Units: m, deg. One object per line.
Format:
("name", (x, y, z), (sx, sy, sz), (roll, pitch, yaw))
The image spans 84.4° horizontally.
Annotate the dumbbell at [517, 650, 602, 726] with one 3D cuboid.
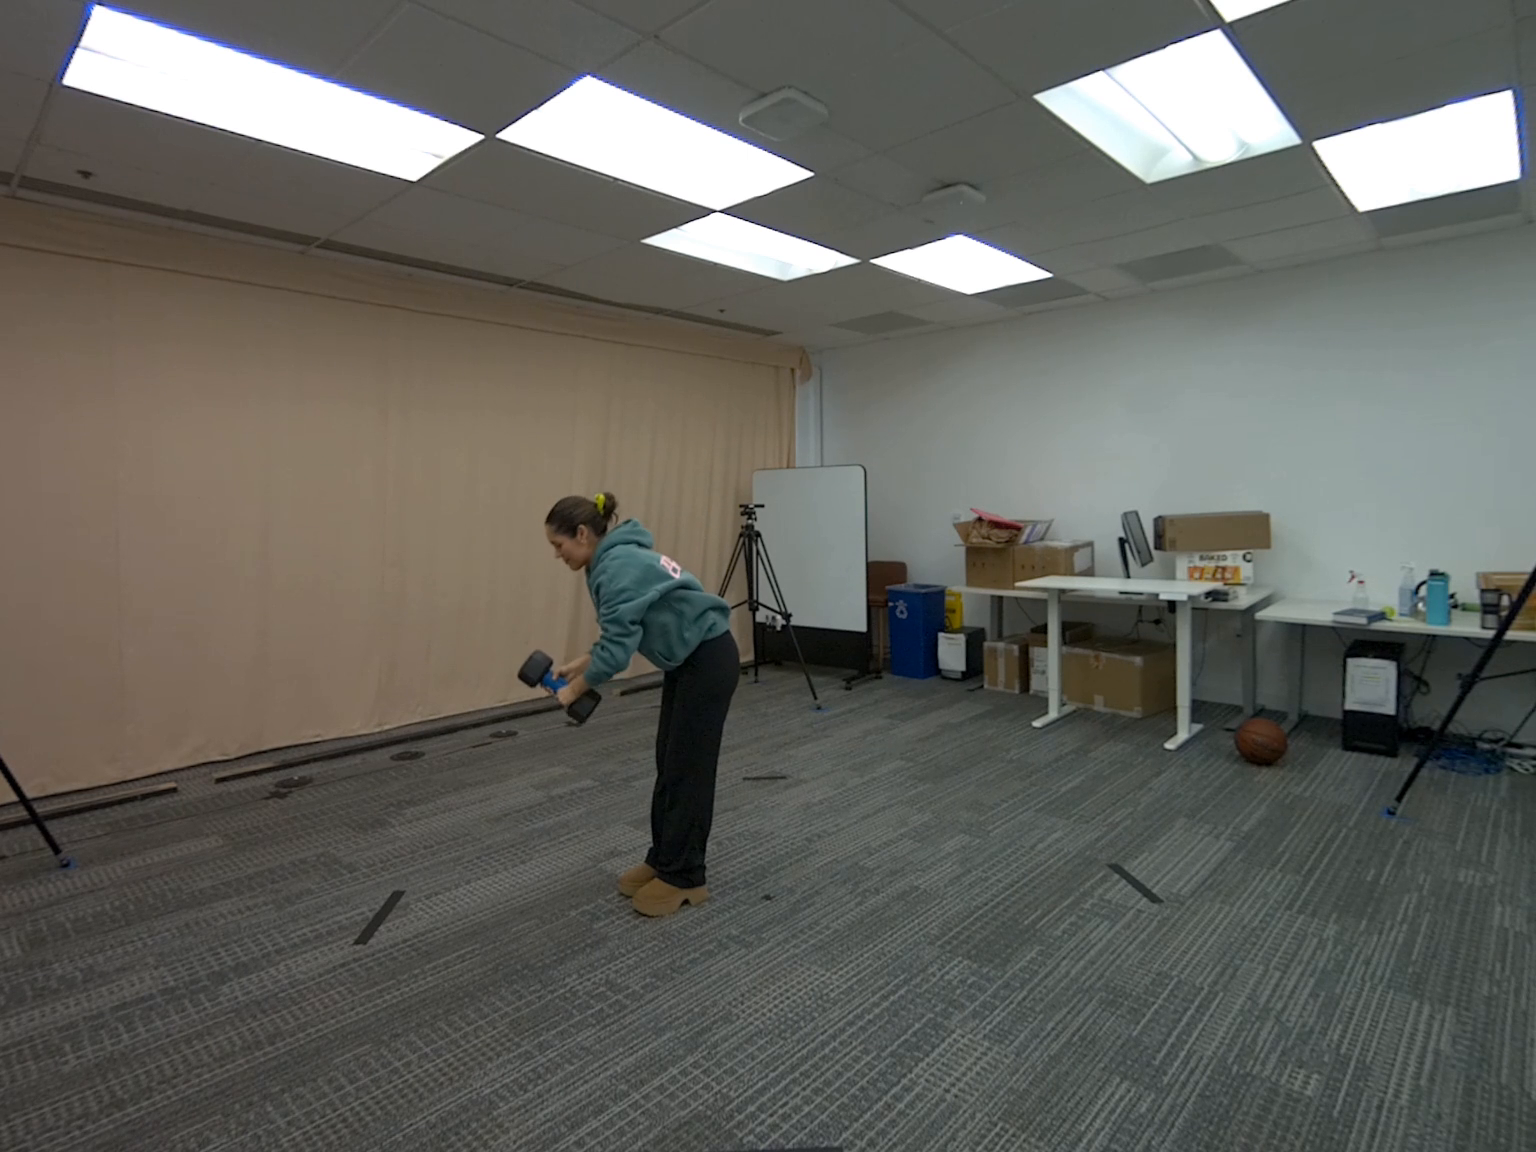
("dumbbell", (-0.728, 0.388, 2.931), (0.294, 0.123, 0.109), (36, -13, 0))
